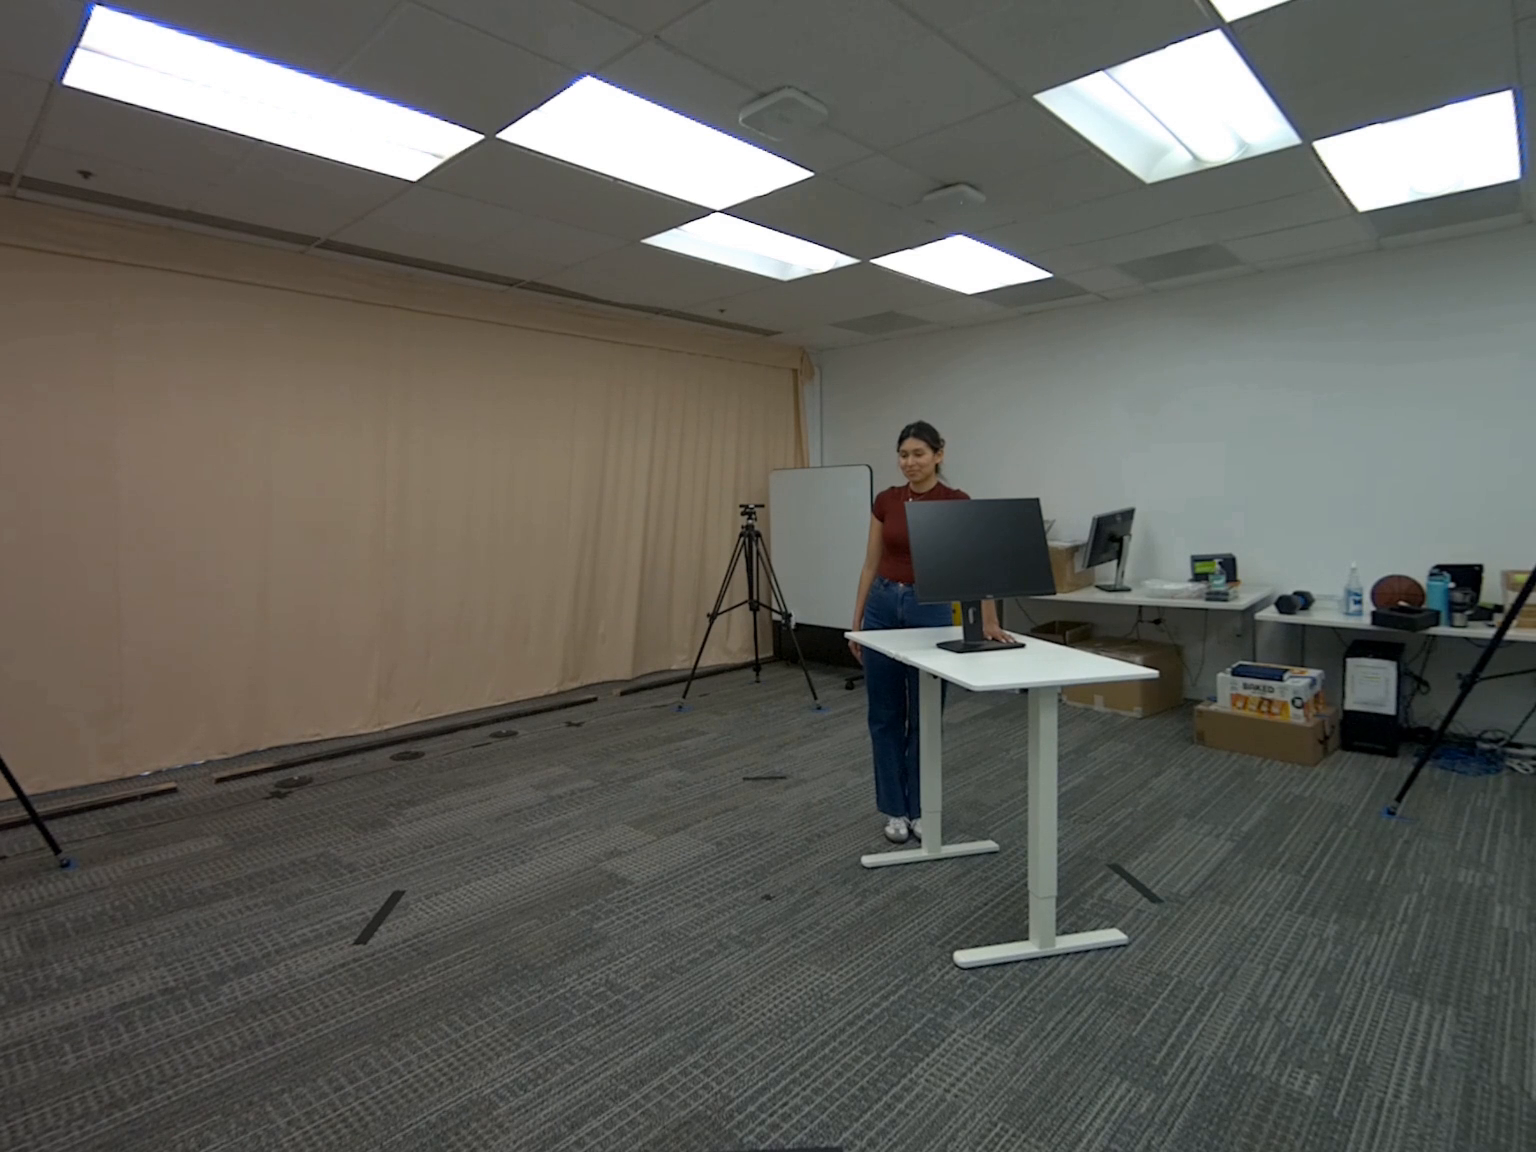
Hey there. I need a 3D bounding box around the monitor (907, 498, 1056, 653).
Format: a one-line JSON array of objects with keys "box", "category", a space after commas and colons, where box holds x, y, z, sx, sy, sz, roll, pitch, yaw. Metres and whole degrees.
[{"box": [0.734, -0.007, 2.939, 0.529, 0.522, 0.191, -3, 2, -18], "category": "monitor"}]
